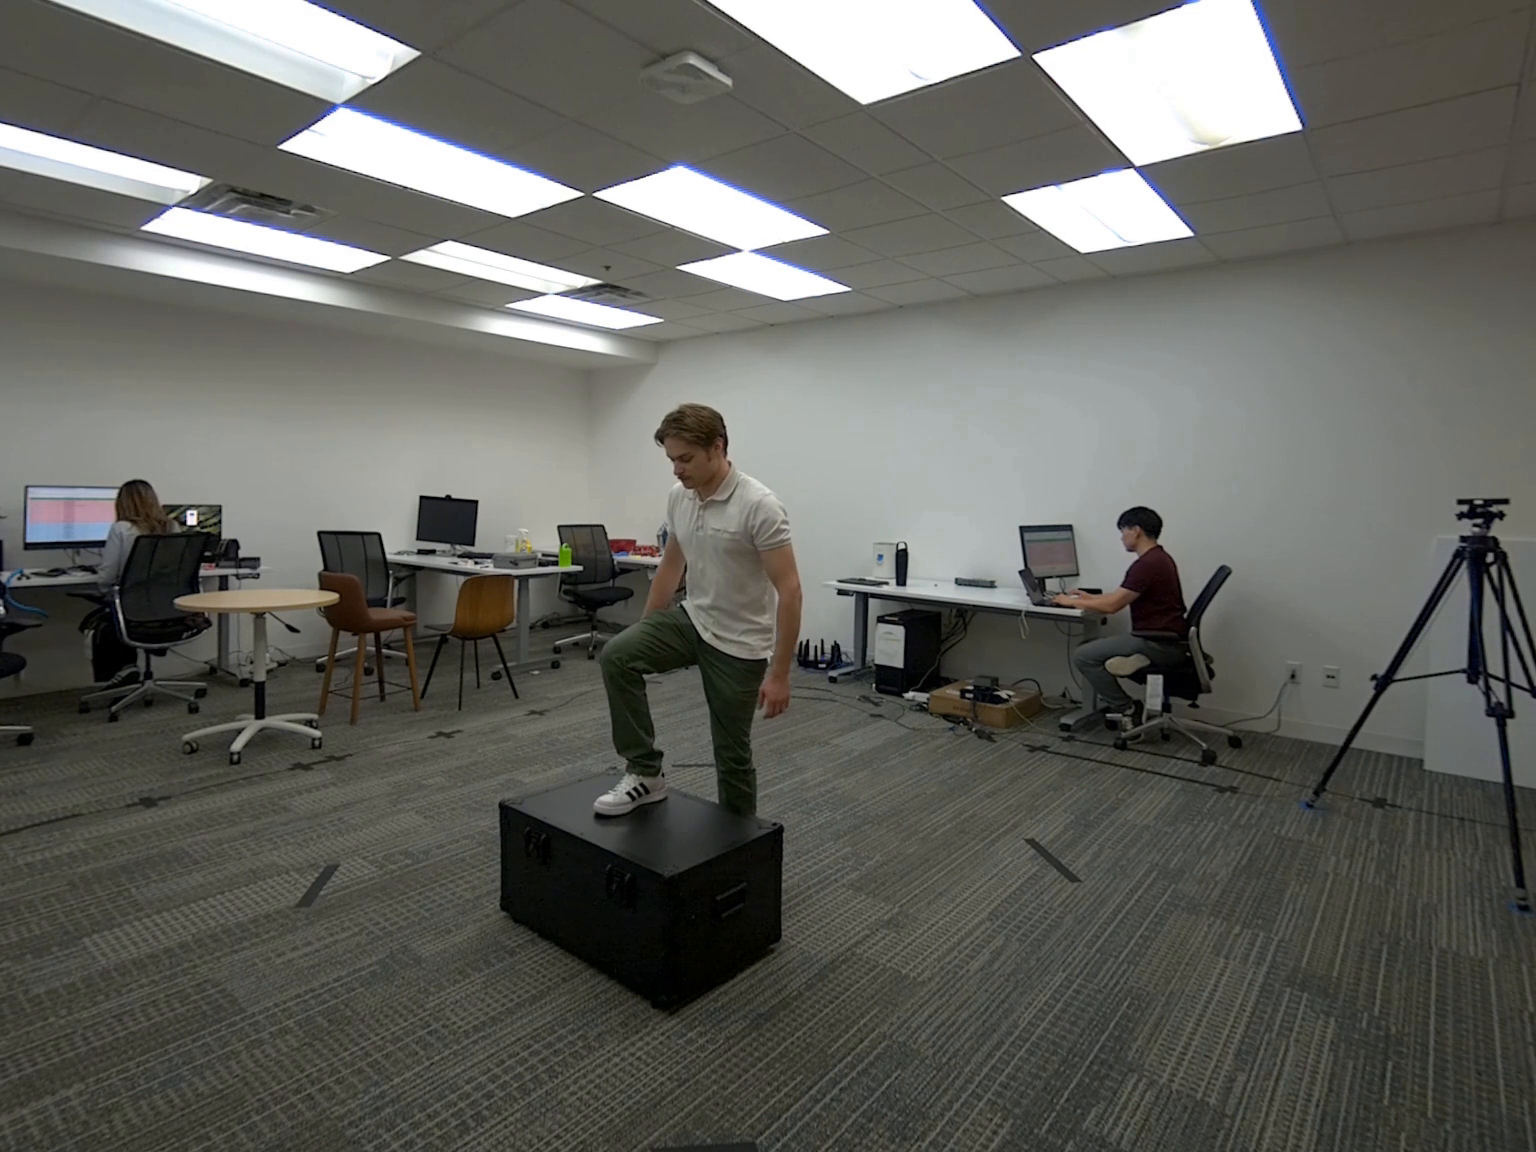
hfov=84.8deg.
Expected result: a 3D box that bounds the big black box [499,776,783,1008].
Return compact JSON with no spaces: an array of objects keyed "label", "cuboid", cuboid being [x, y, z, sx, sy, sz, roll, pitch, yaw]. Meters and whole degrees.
[{"label":"big black box","cuboid":[-0.440,0.919,2.673,0.891,0.395,0.506,6,7,40]}]
